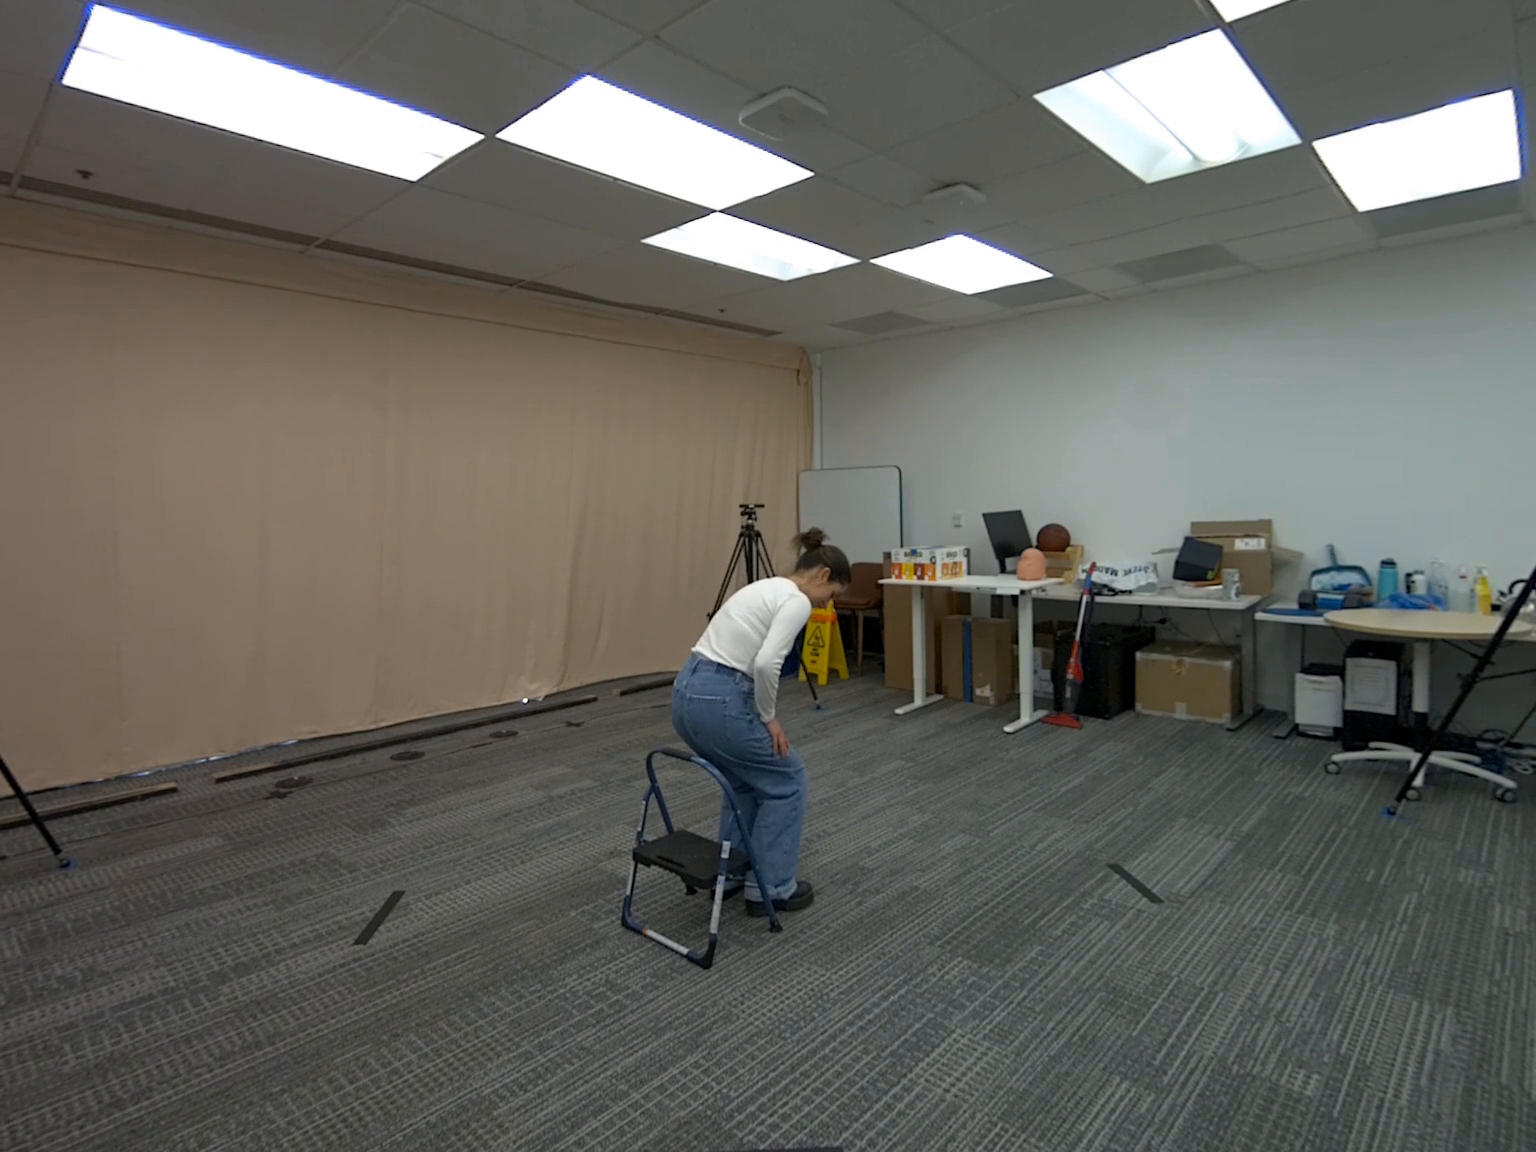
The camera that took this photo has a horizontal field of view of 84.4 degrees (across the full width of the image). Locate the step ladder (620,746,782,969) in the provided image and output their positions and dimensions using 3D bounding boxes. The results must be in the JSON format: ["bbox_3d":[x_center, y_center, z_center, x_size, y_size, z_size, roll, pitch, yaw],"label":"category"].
[{"bbox_3d":[-0.228,0.857,2.768,0.445,0.605,0.338,2,4,43],"label":"step ladder"}]
